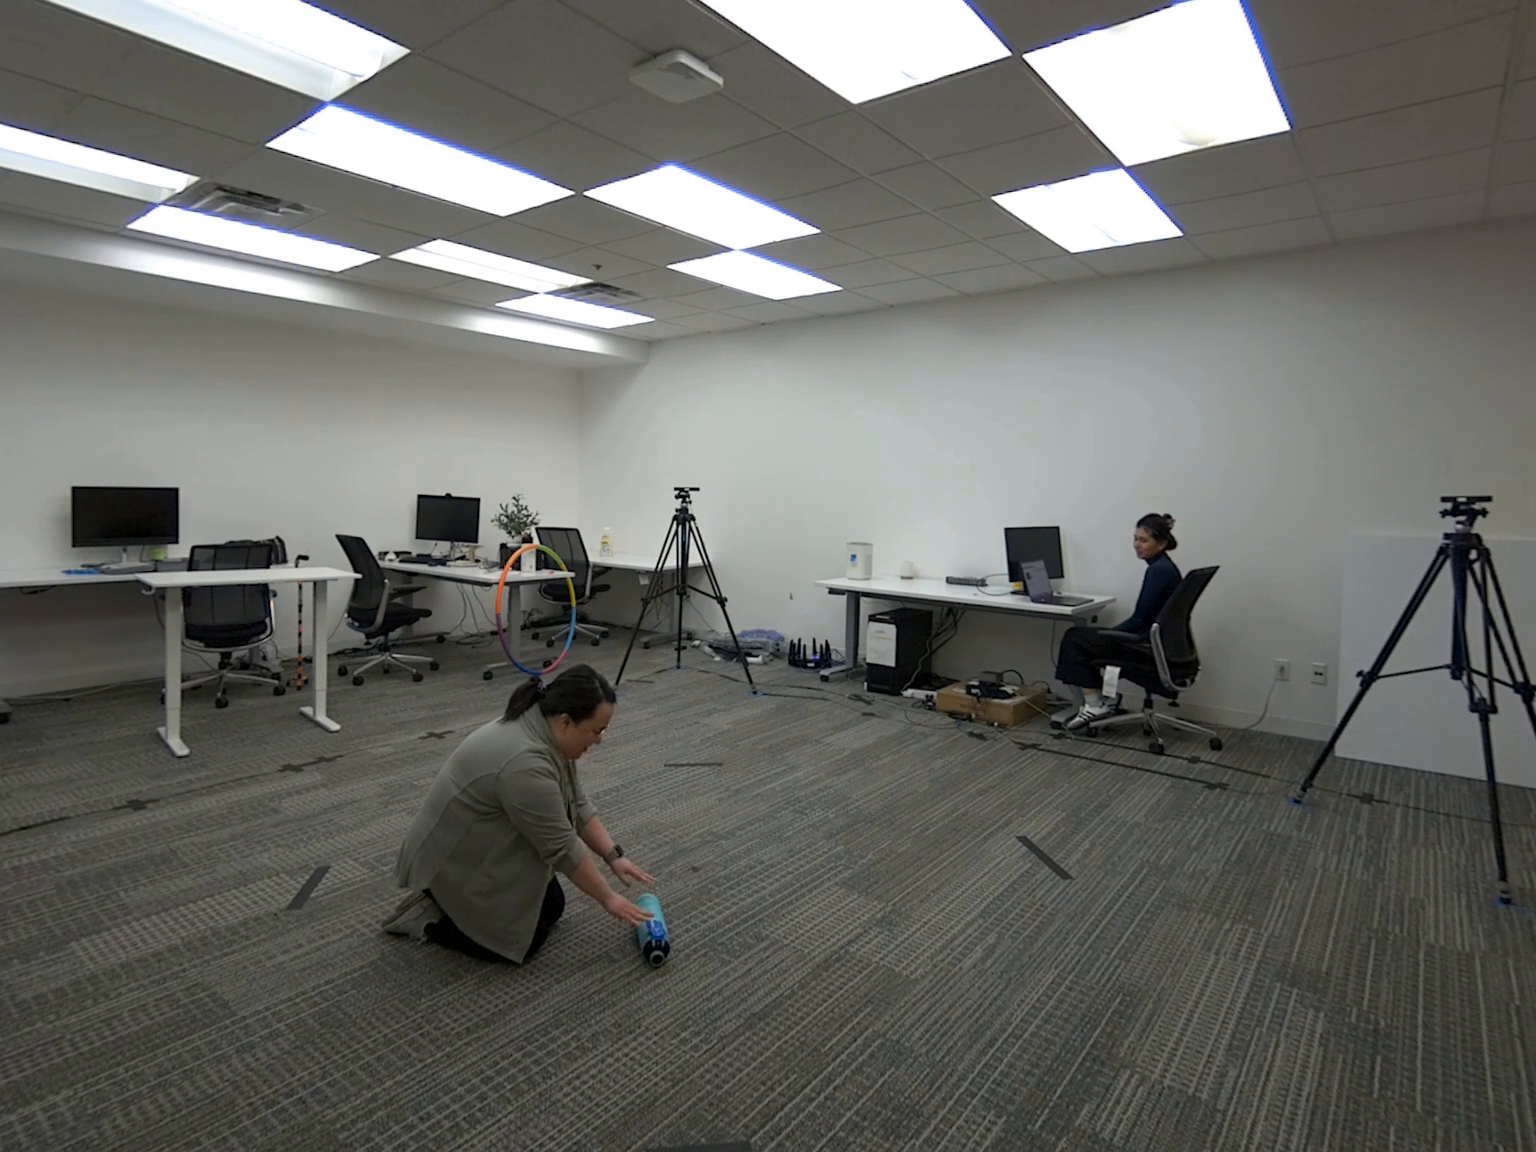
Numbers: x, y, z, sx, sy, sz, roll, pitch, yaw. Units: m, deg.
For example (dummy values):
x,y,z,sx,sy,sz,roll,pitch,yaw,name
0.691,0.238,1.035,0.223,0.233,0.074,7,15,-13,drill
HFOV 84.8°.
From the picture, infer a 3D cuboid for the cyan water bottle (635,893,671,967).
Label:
x,y,z,sx,sy,sz,roll,pitch,yaw,name
-0.363,1.074,2.576,0.091,0.092,0.288,0,5,-14,cyan water bottle
